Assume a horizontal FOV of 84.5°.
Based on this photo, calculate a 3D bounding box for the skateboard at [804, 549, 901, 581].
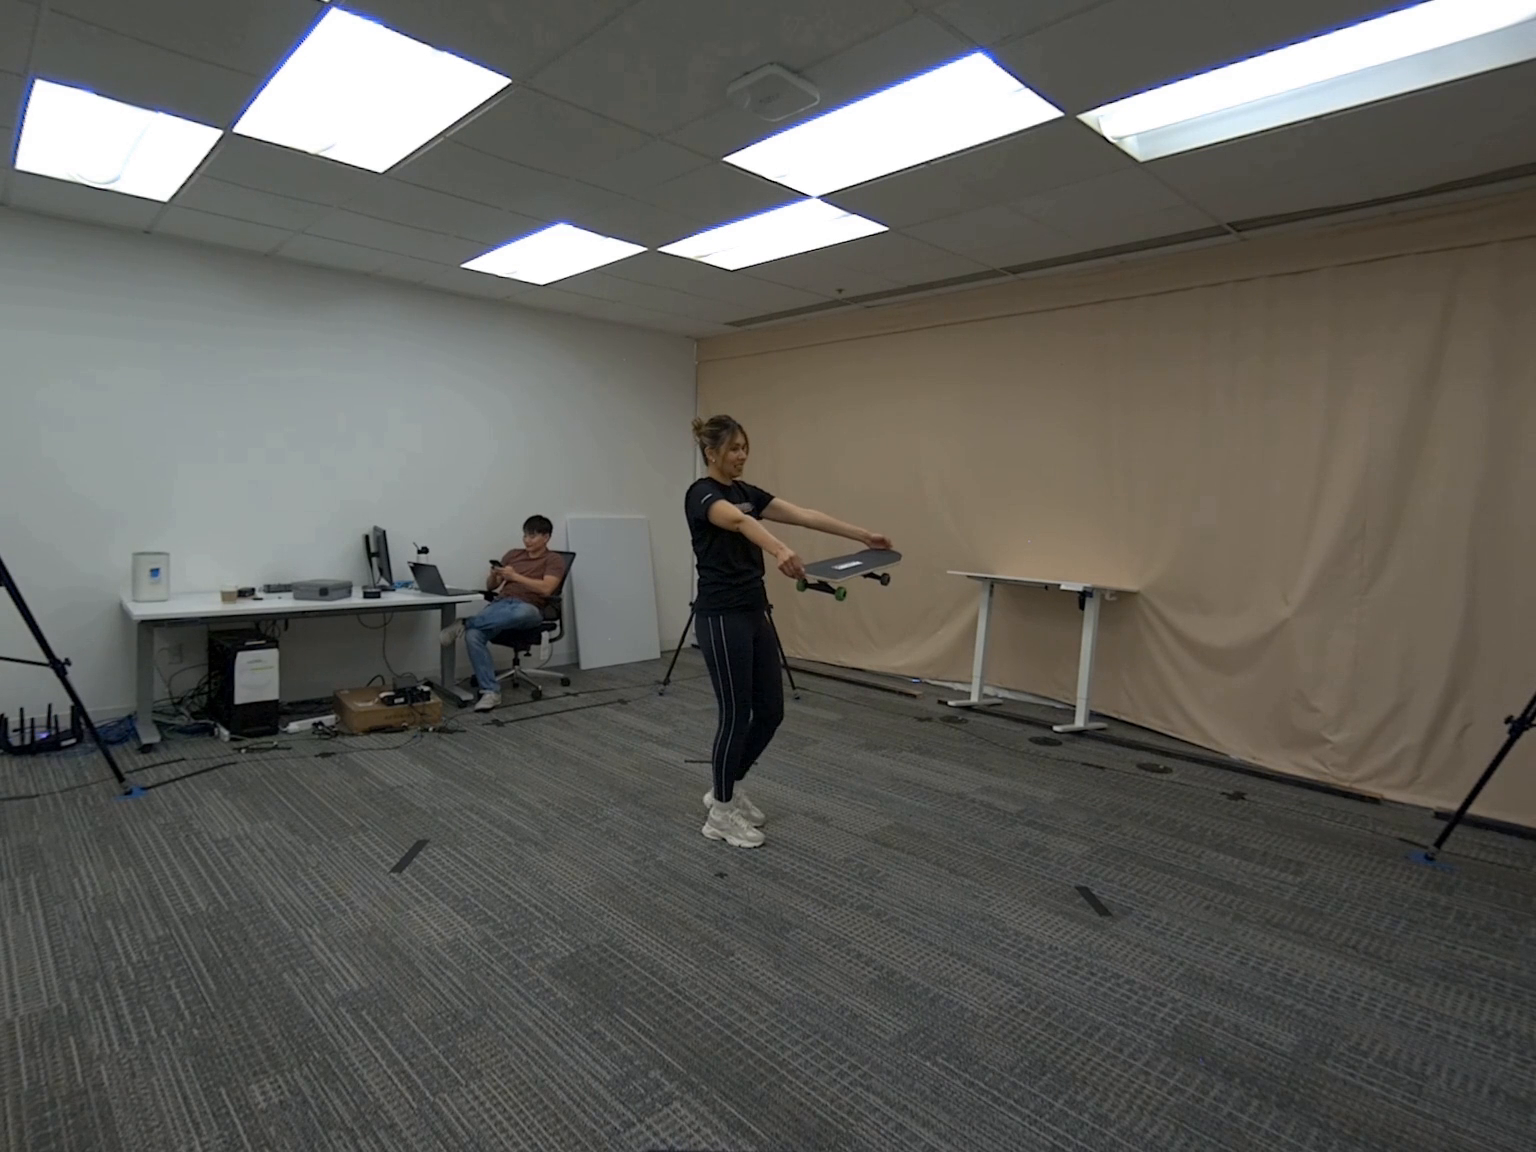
[{"bbox_3d":[0.287,-0.003,3.124,0.198,0.109,0.772,14,13,27],"label":"skateboard"}]
